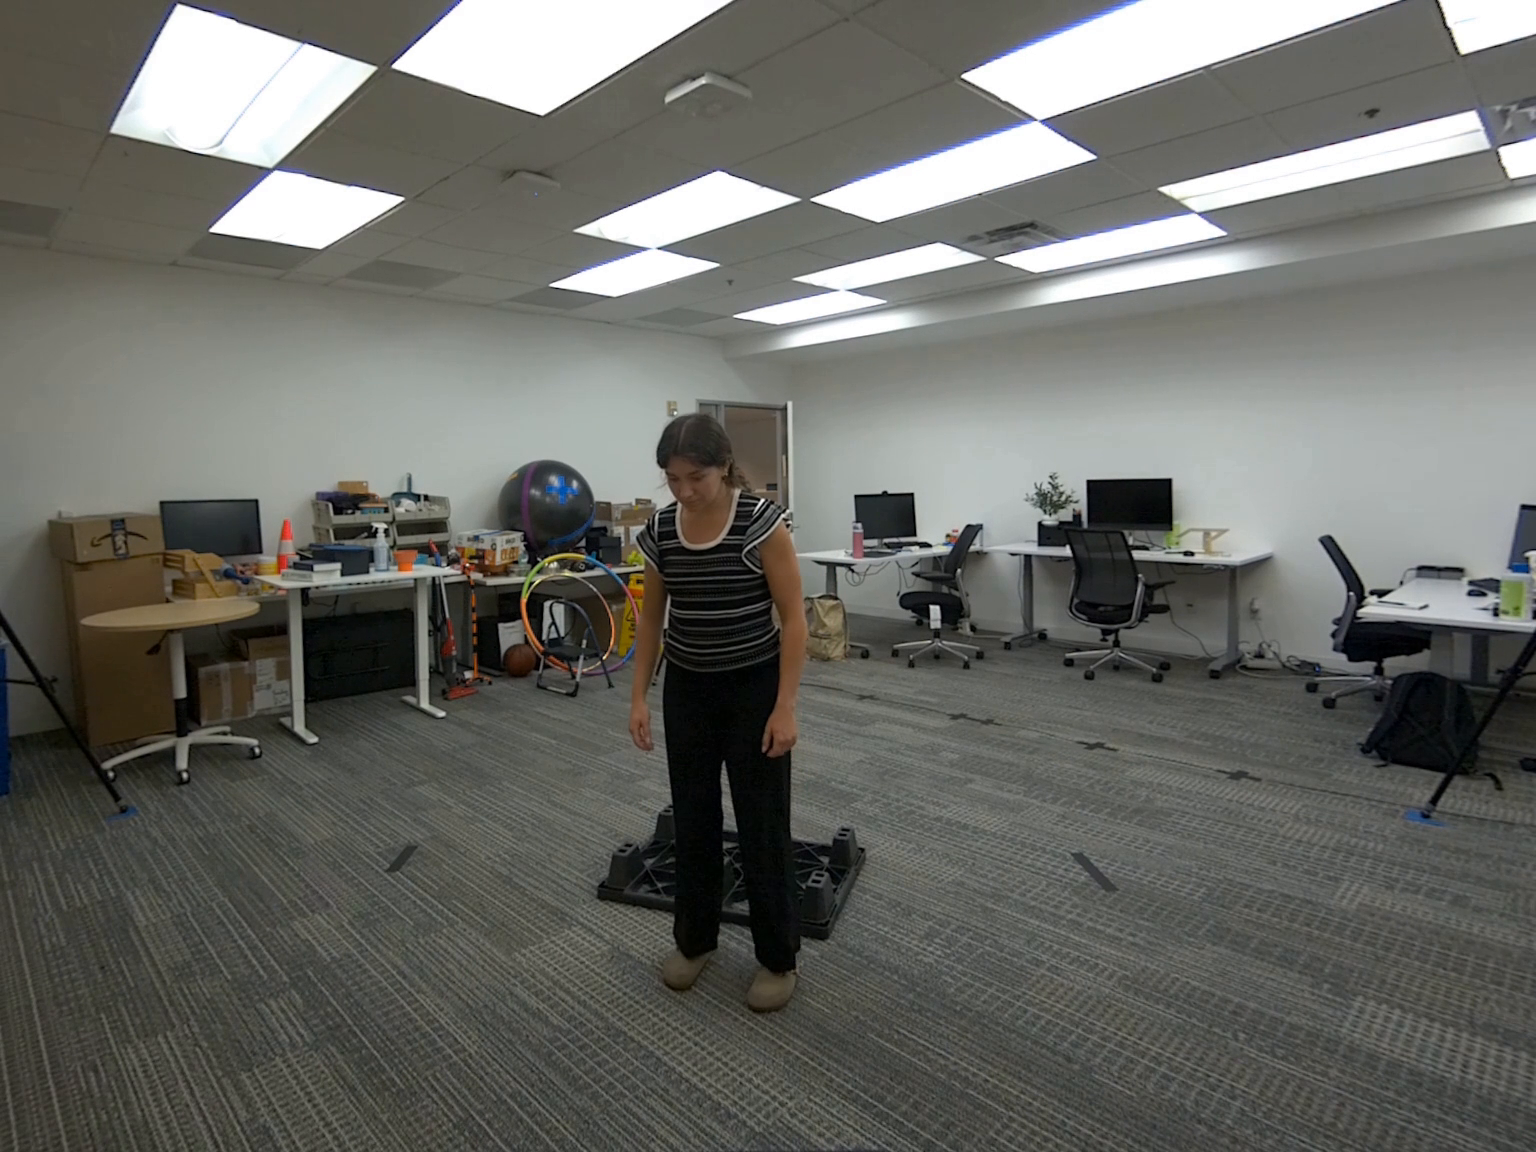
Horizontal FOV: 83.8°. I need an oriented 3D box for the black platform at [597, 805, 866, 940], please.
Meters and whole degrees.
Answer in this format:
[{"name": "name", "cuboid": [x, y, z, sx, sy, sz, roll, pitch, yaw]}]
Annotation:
[{"name": "black platform", "cuboid": [-0.101, 0.991, 2.994, 0.821, 0.142, 0.597, 2, 7, 19]}]
